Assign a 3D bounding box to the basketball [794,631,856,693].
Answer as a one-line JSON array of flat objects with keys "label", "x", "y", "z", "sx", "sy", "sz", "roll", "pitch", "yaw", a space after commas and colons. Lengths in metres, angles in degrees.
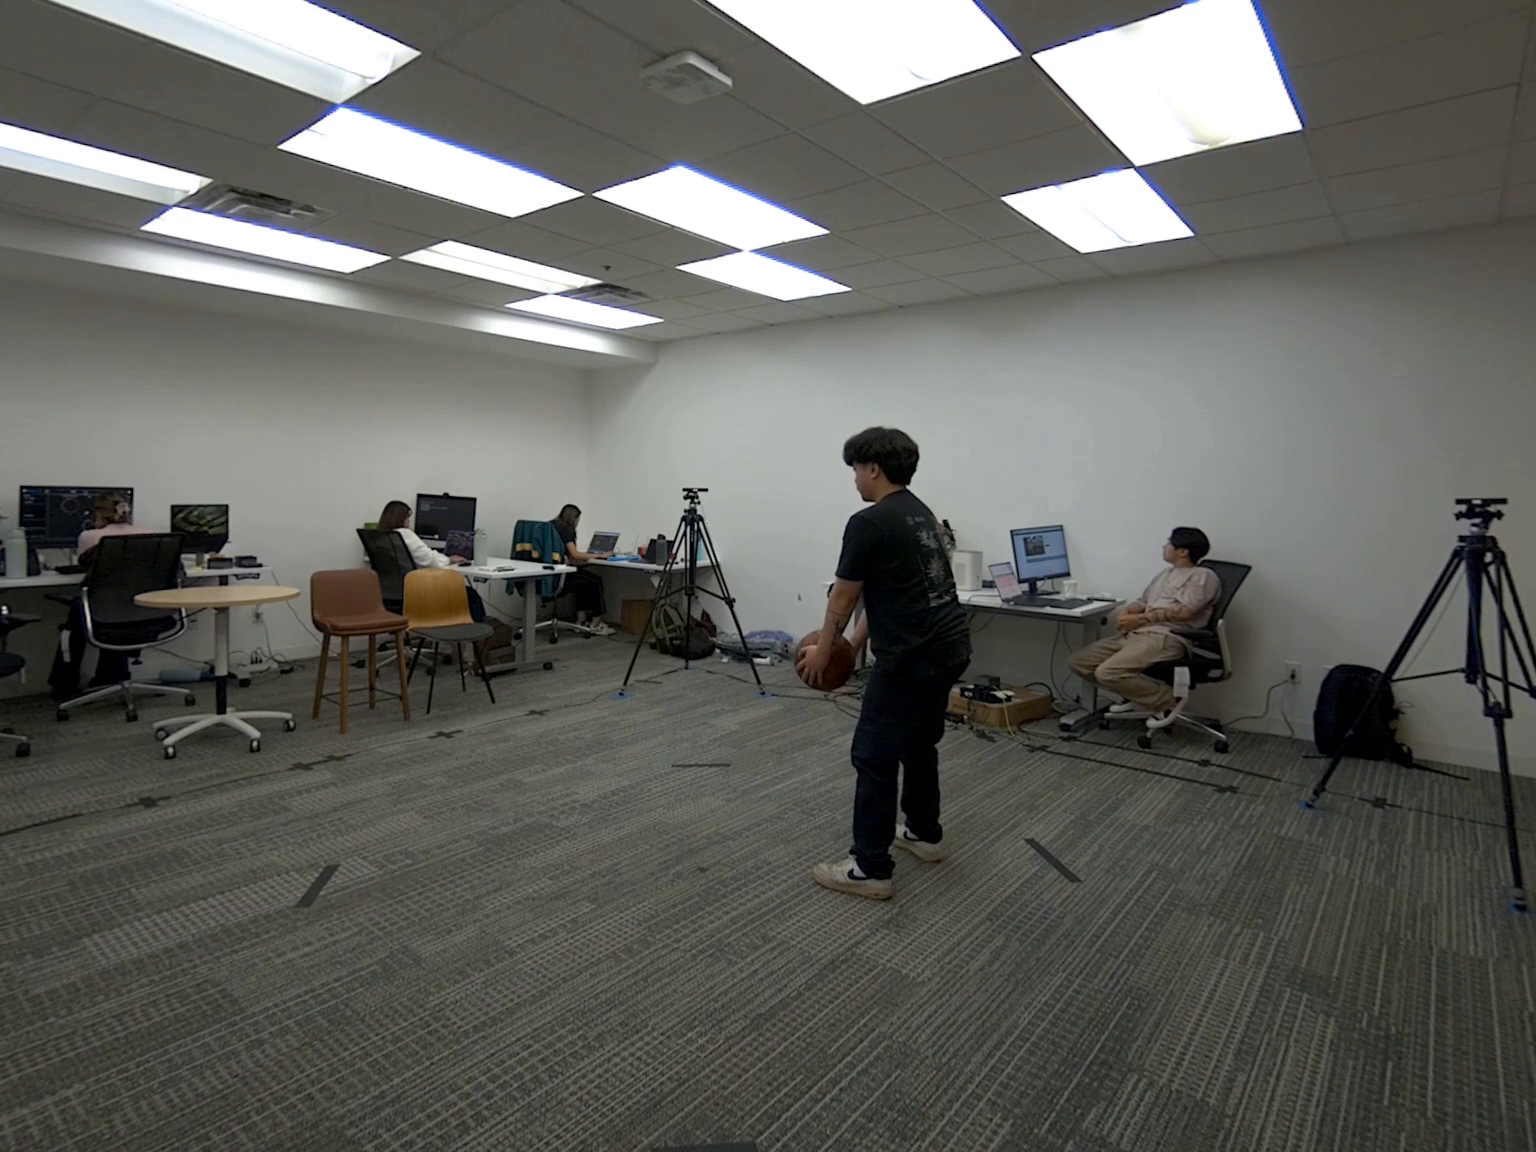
[{"label": "basketball", "x": 0.210, "y": 0.322, "z": 3.327, "sx": 0.235, "sy": 0.235, "sz": 0.237, "roll": 1, "pitch": 4, "yaw": -2}]
